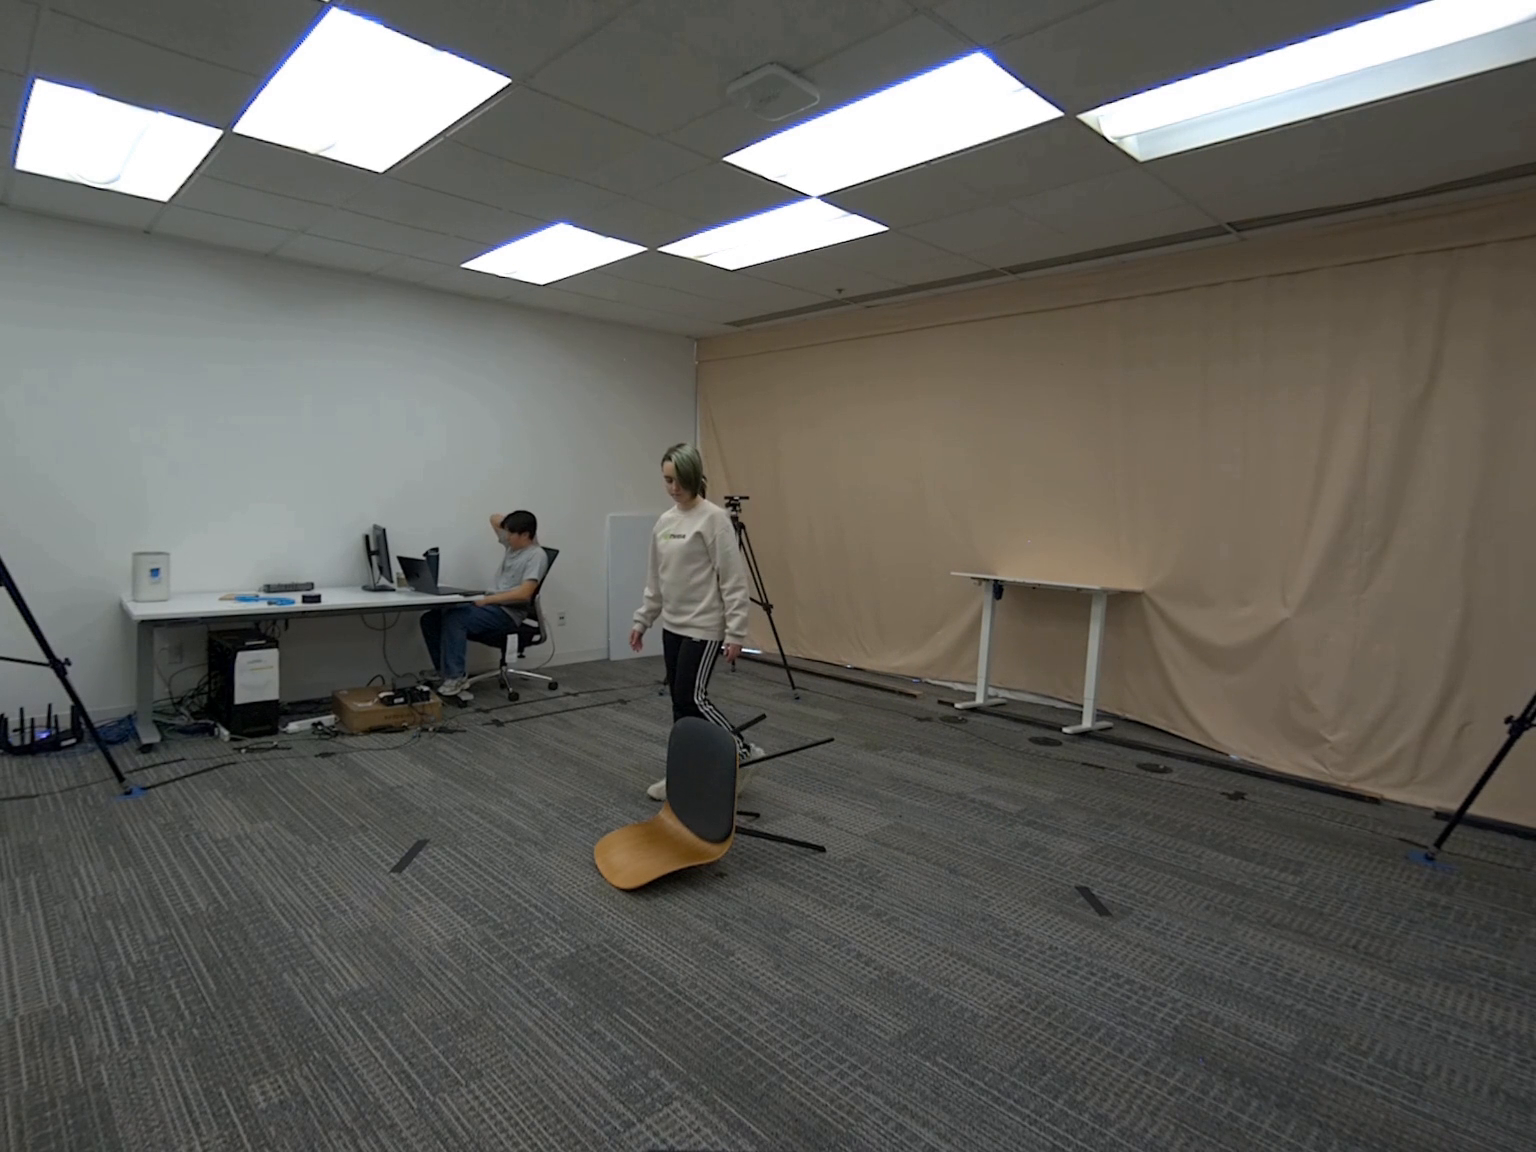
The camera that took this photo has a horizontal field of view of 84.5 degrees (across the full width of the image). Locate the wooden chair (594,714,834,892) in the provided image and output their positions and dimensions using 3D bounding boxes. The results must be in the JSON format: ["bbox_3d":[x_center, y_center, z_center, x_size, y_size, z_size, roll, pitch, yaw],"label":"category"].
[{"bbox_3d":[-0.232,0.831,3.259,0.858,0.522,0.490,-3,5,-36],"label":"wooden chair"}]
